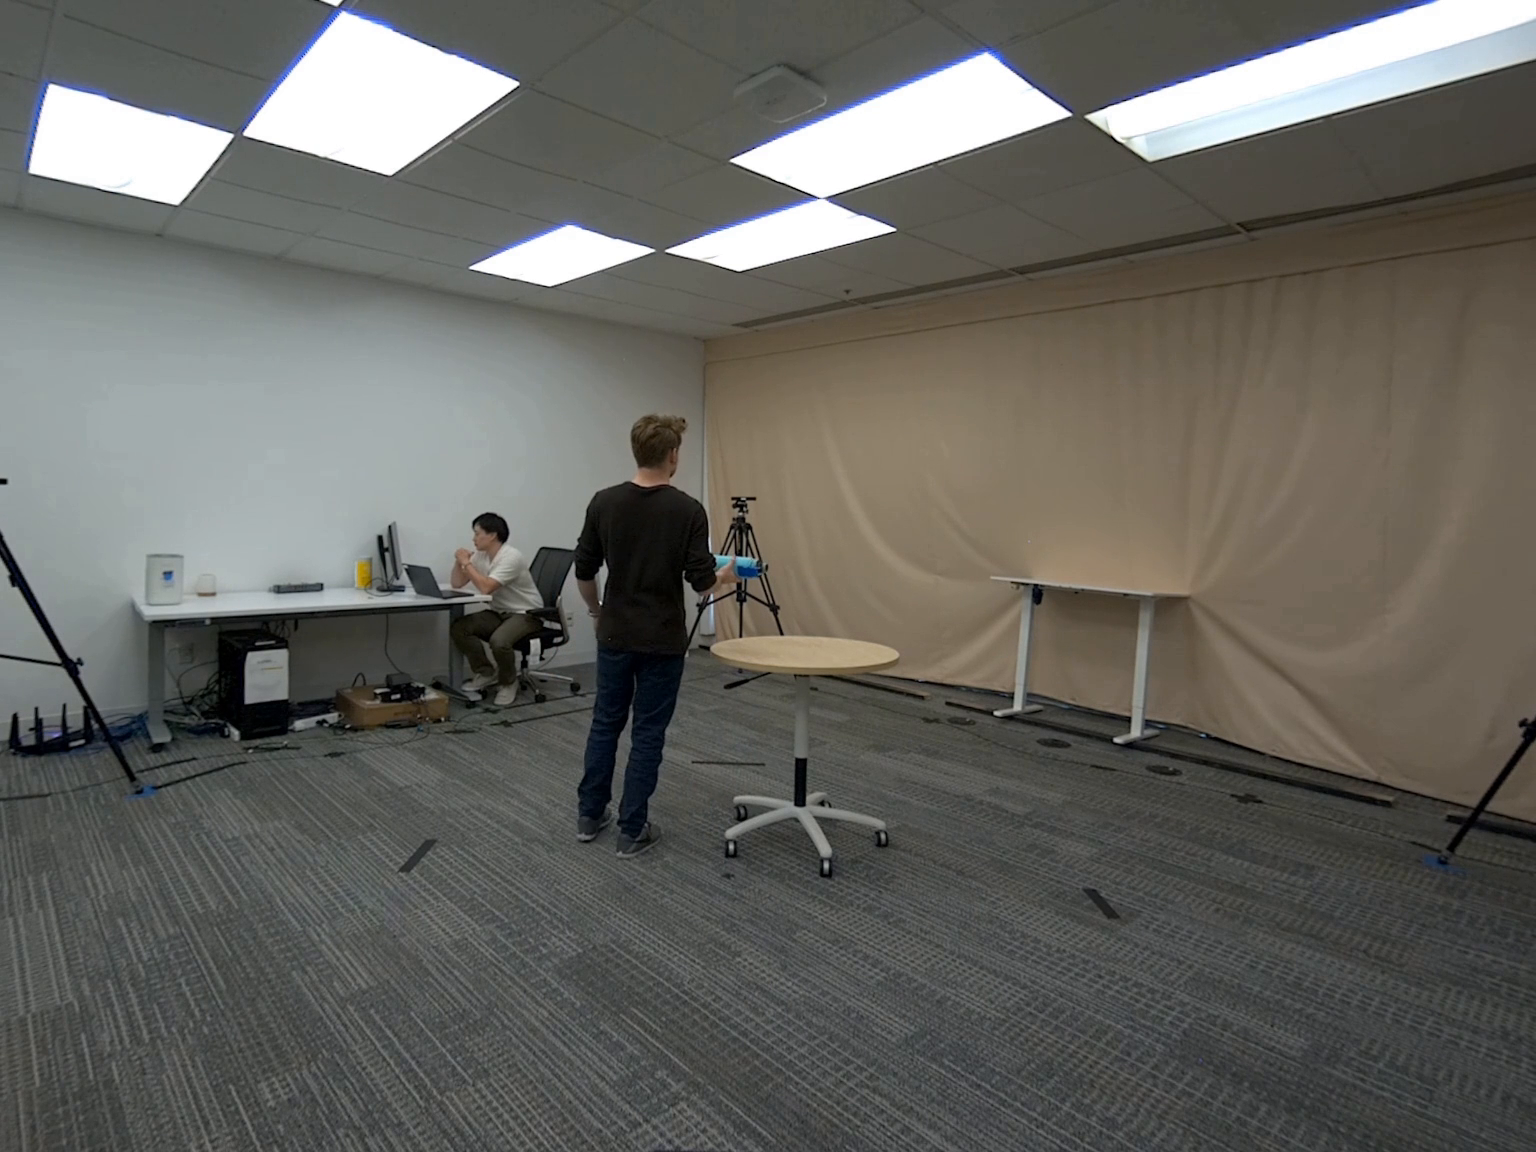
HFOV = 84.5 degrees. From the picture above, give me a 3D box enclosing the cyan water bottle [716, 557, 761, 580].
[{"bbox_3d":[-0.155,-0.037,3.561,0.289,0.092,0.091,6,6,26],"label":"cyan water bottle"}]
